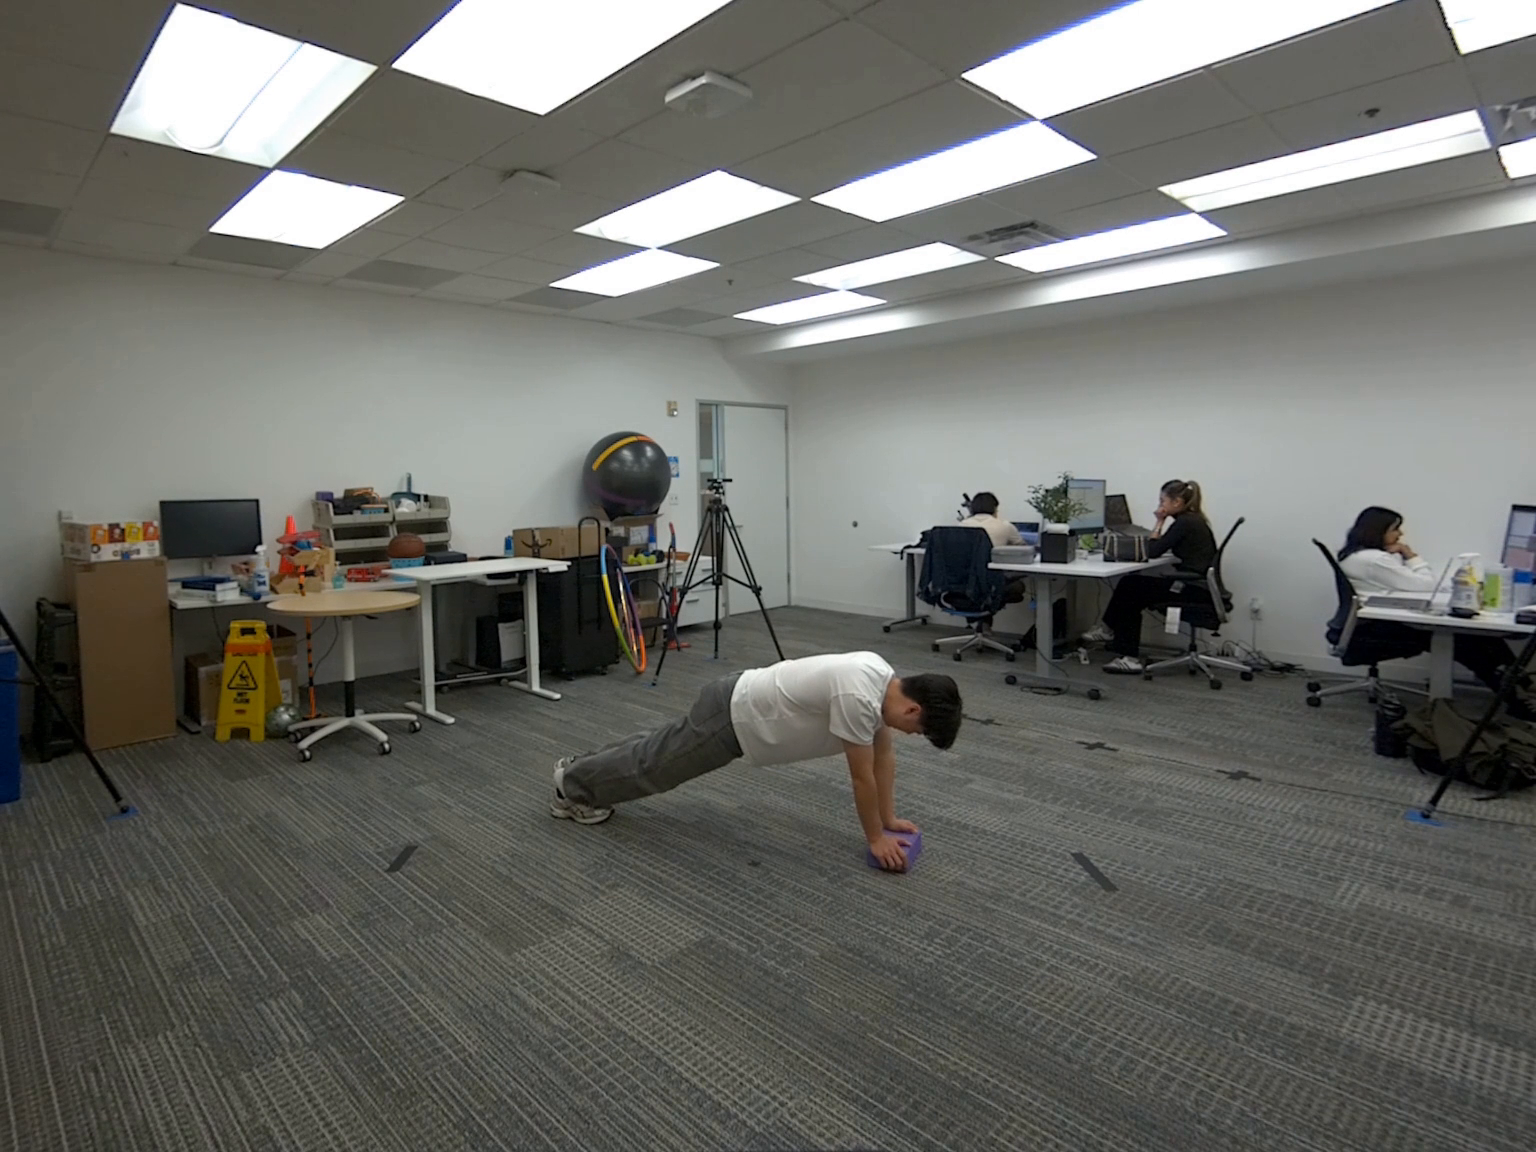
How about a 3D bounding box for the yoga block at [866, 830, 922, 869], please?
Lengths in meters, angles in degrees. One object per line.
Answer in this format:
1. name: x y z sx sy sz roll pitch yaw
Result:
1. yoga block: 0.468 1.002 3.135 0.153 0.076 0.224 2 5 27
